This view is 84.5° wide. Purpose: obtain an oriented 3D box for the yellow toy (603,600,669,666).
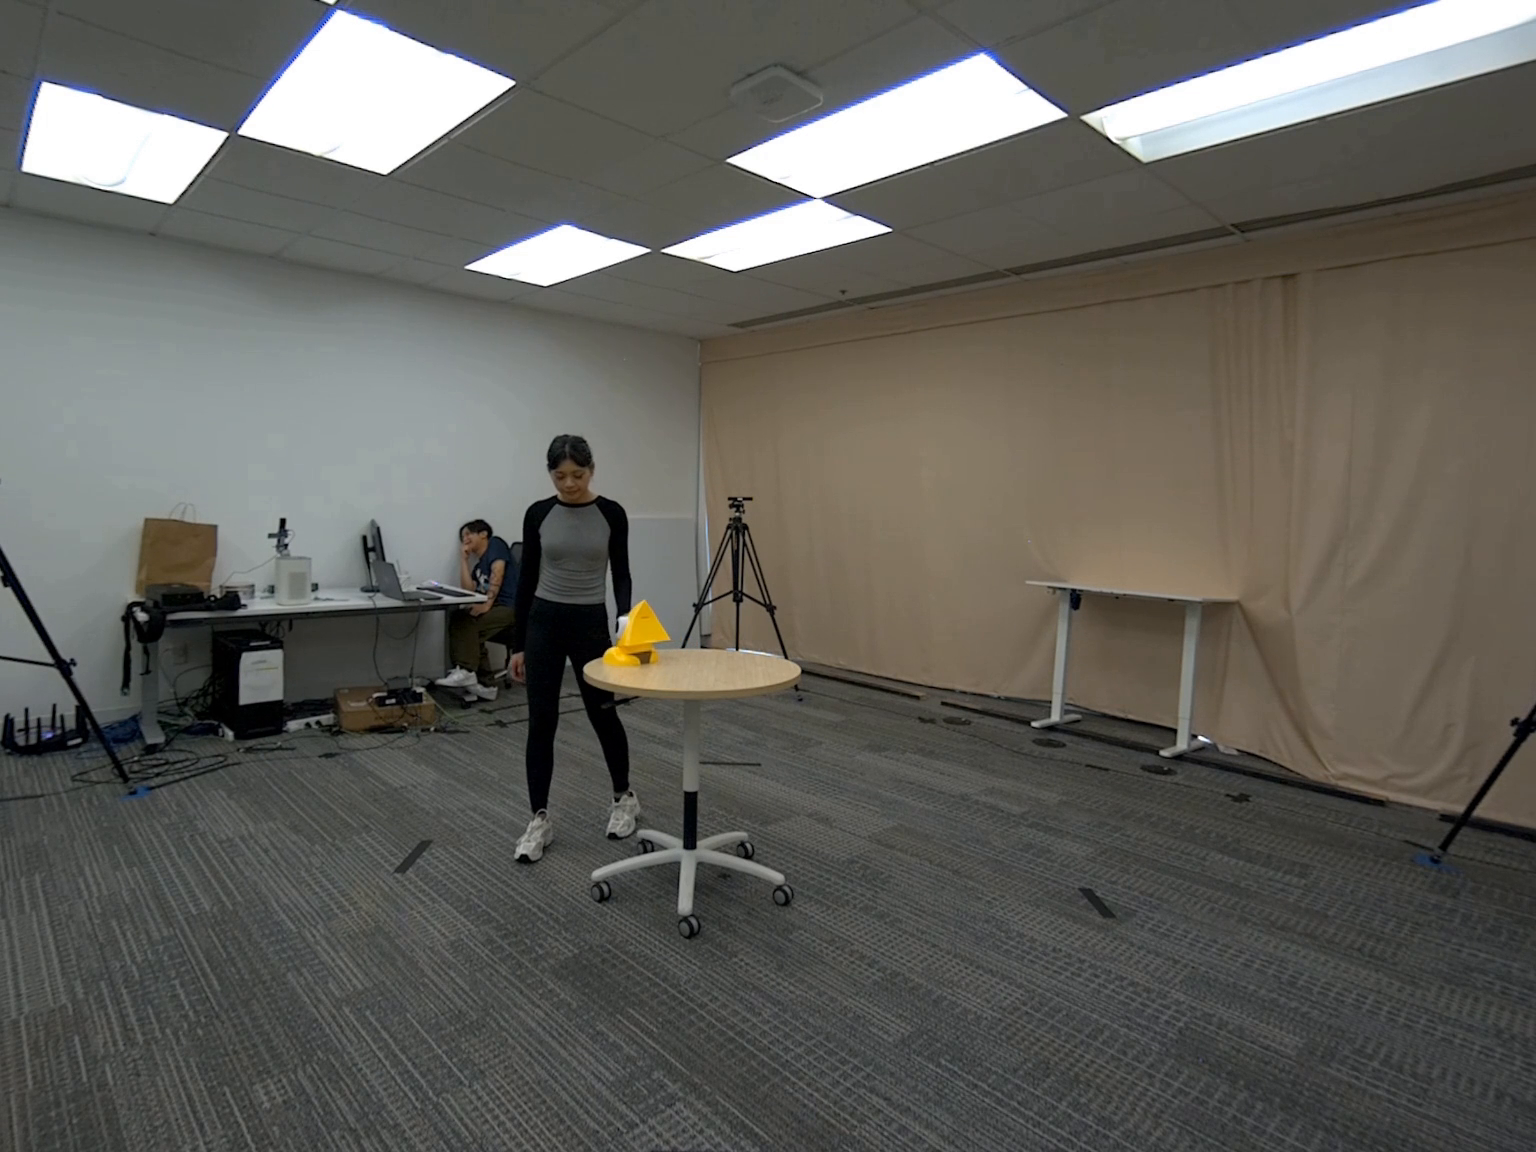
[{"bbox_3d":[-0.501,0.201,3.070,0.198,0.230,0.200,3,4,40],"label":"yellow toy"}]
